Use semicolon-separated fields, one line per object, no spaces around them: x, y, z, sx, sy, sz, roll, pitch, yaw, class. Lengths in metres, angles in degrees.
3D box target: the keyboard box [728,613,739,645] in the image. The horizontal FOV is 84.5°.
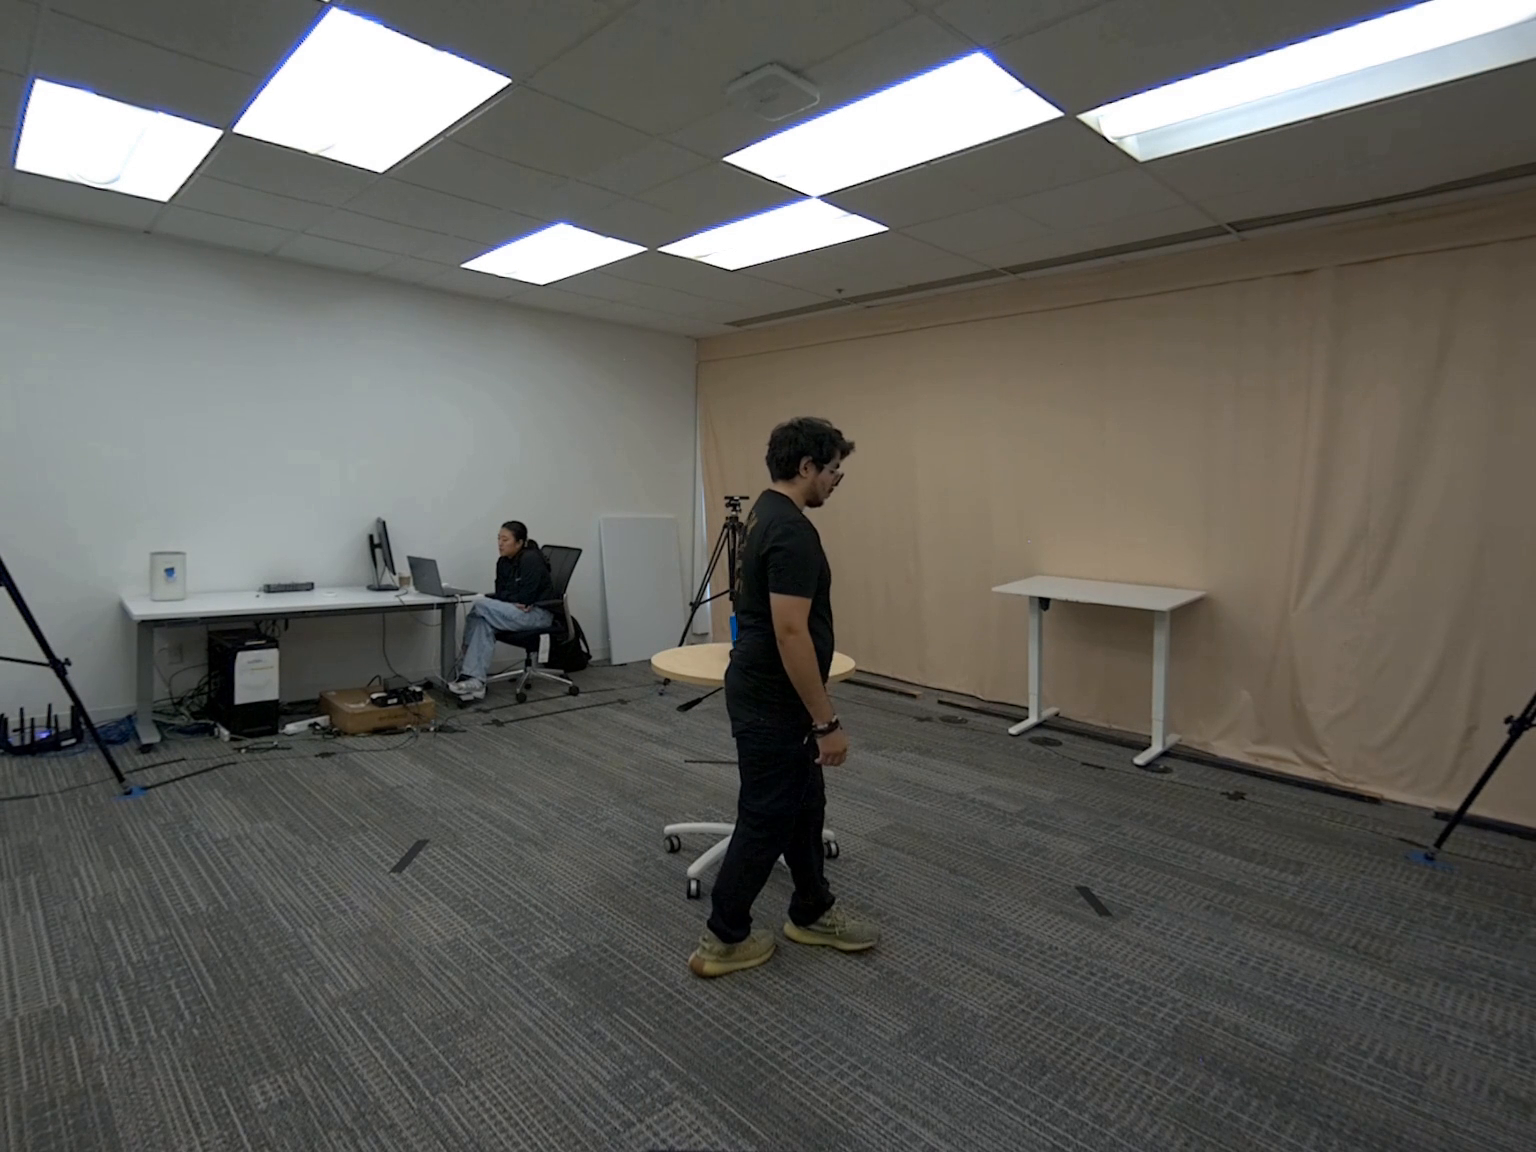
-0.074;0.223;3.334;0.059;0.175;0.436;1;4;5;keyboard box
